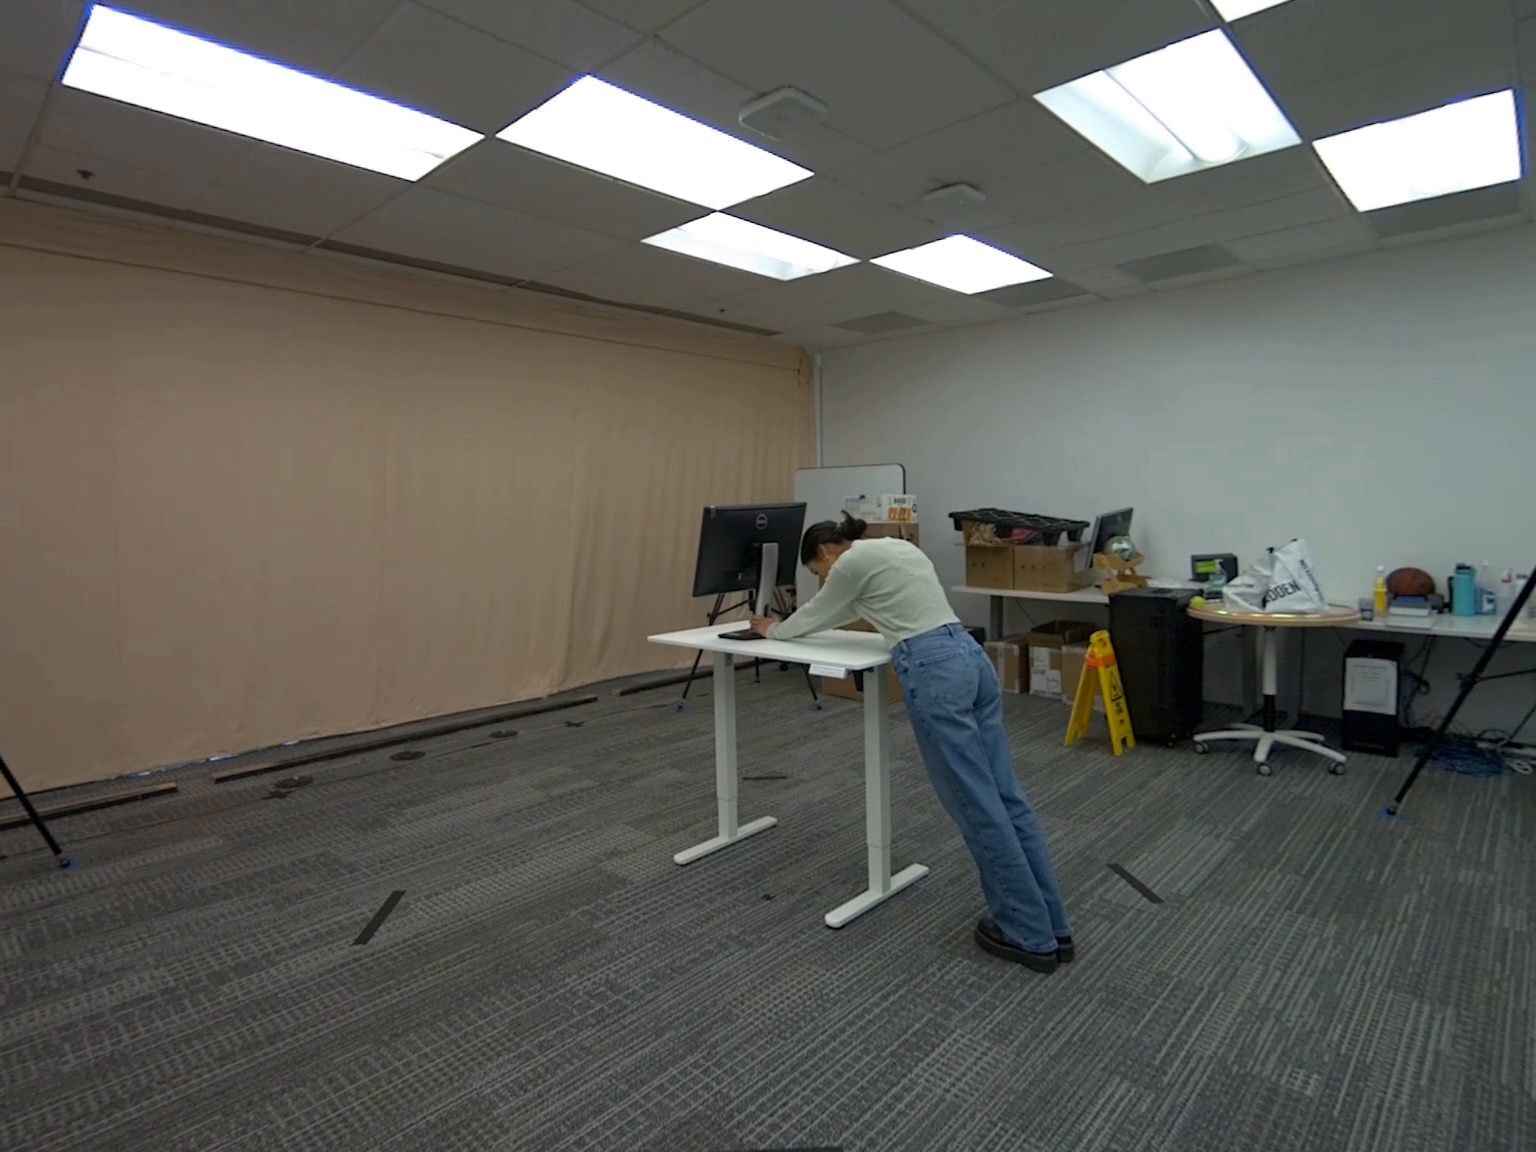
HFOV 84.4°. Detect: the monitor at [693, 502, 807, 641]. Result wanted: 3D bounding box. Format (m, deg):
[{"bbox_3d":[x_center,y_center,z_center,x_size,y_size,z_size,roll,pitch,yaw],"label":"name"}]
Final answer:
[{"bbox_3d":[-0.041,-0.020,3.285,0.523,0.521,0.193,-6,8,-44],"label":"monitor"}]
